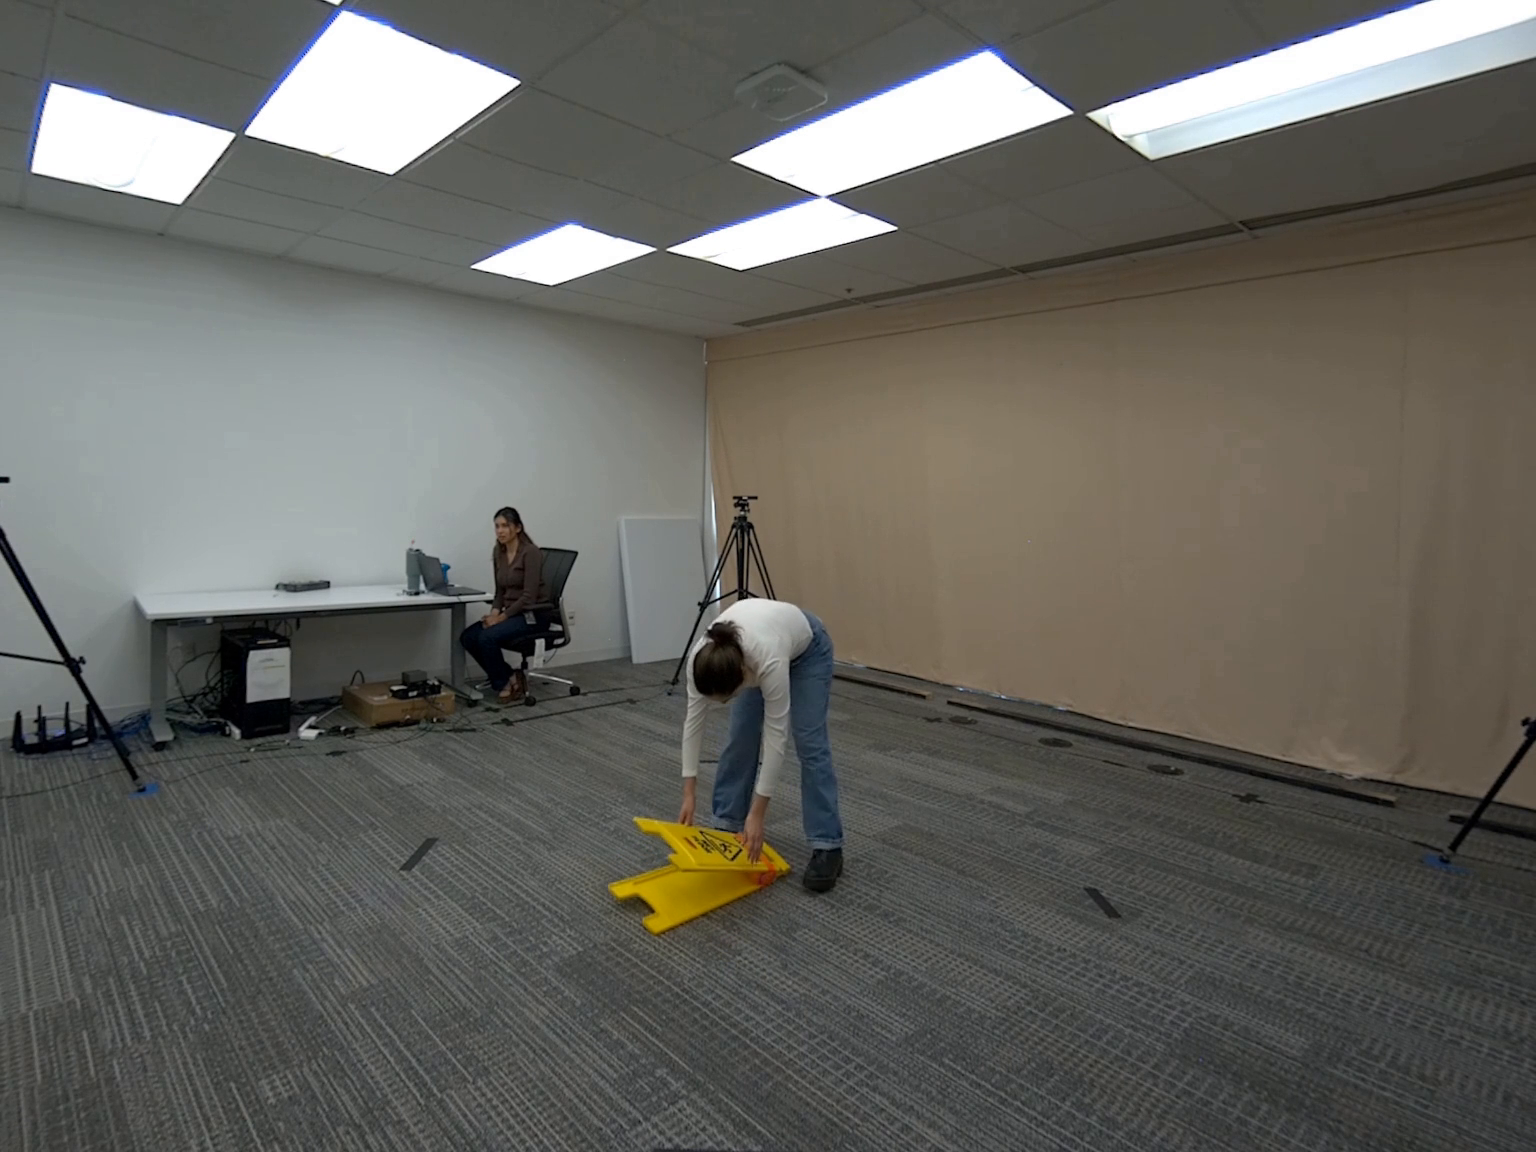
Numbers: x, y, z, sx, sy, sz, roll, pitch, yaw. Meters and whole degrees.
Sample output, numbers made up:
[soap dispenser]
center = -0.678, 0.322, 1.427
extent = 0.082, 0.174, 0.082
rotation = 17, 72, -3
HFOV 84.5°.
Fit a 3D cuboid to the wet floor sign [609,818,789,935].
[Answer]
[wet floor sign]
center = -0.200, 1.023, 2.957
extent = 0.628, 0.289, 0.291
rotation = 12, 11, -45
